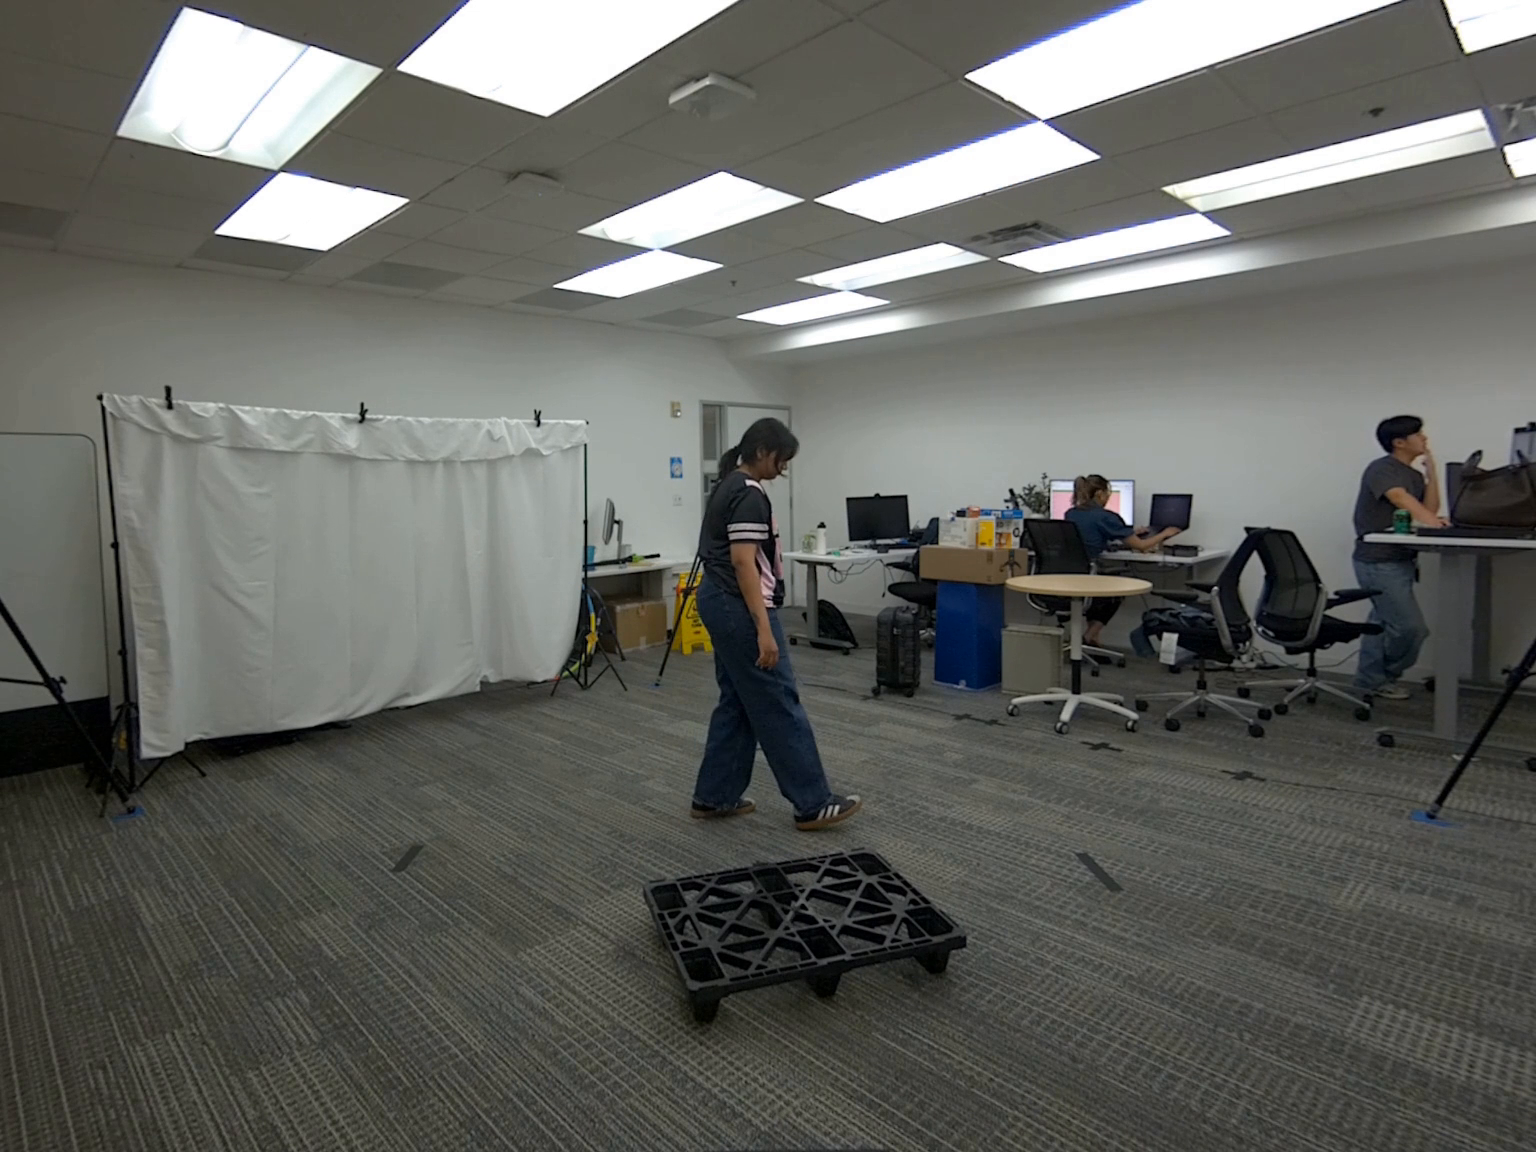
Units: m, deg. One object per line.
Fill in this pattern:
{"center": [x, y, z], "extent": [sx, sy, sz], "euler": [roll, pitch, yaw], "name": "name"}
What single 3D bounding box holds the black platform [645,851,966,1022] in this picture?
{"center": [0.079, 1.044, 2.529], "extent": [0.793, 0.143, 0.617], "euler": [-3, 6, -18], "name": "black platform"}
